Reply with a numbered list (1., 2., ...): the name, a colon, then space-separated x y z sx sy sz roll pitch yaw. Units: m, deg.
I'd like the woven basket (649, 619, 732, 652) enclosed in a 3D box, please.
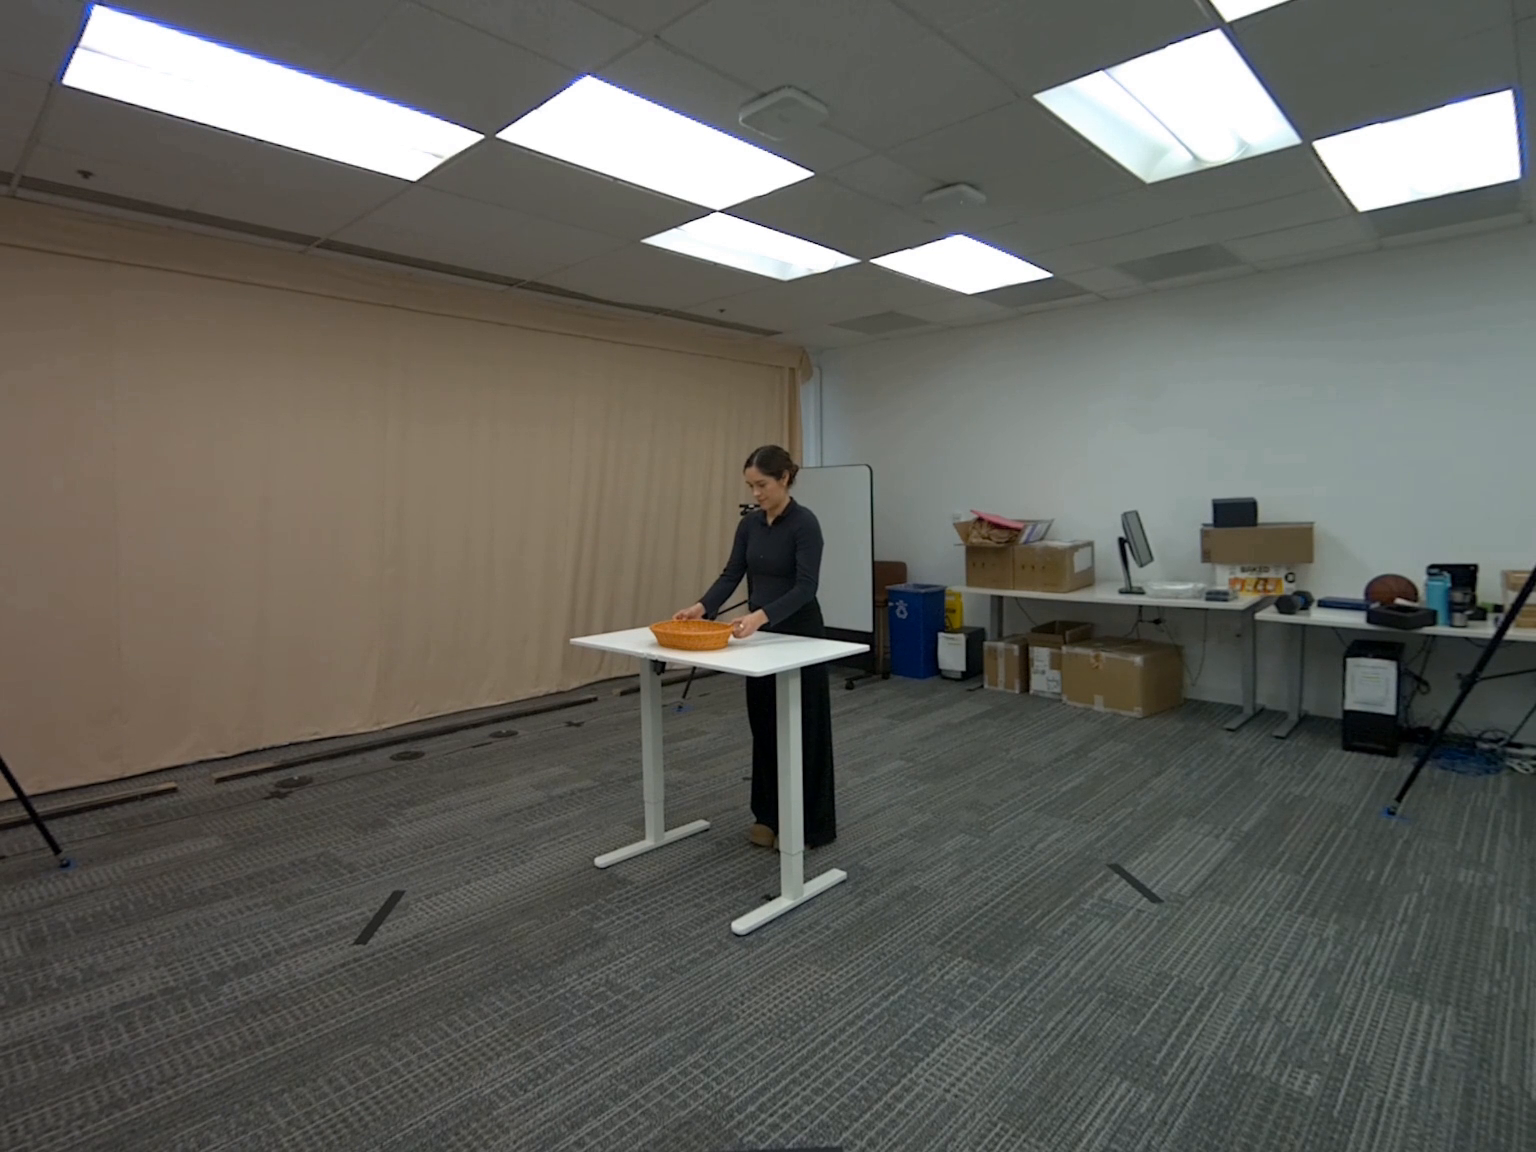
1. woven basket: -0.271 0.224 3.101 0.362 0.073 0.245 4 9 43
